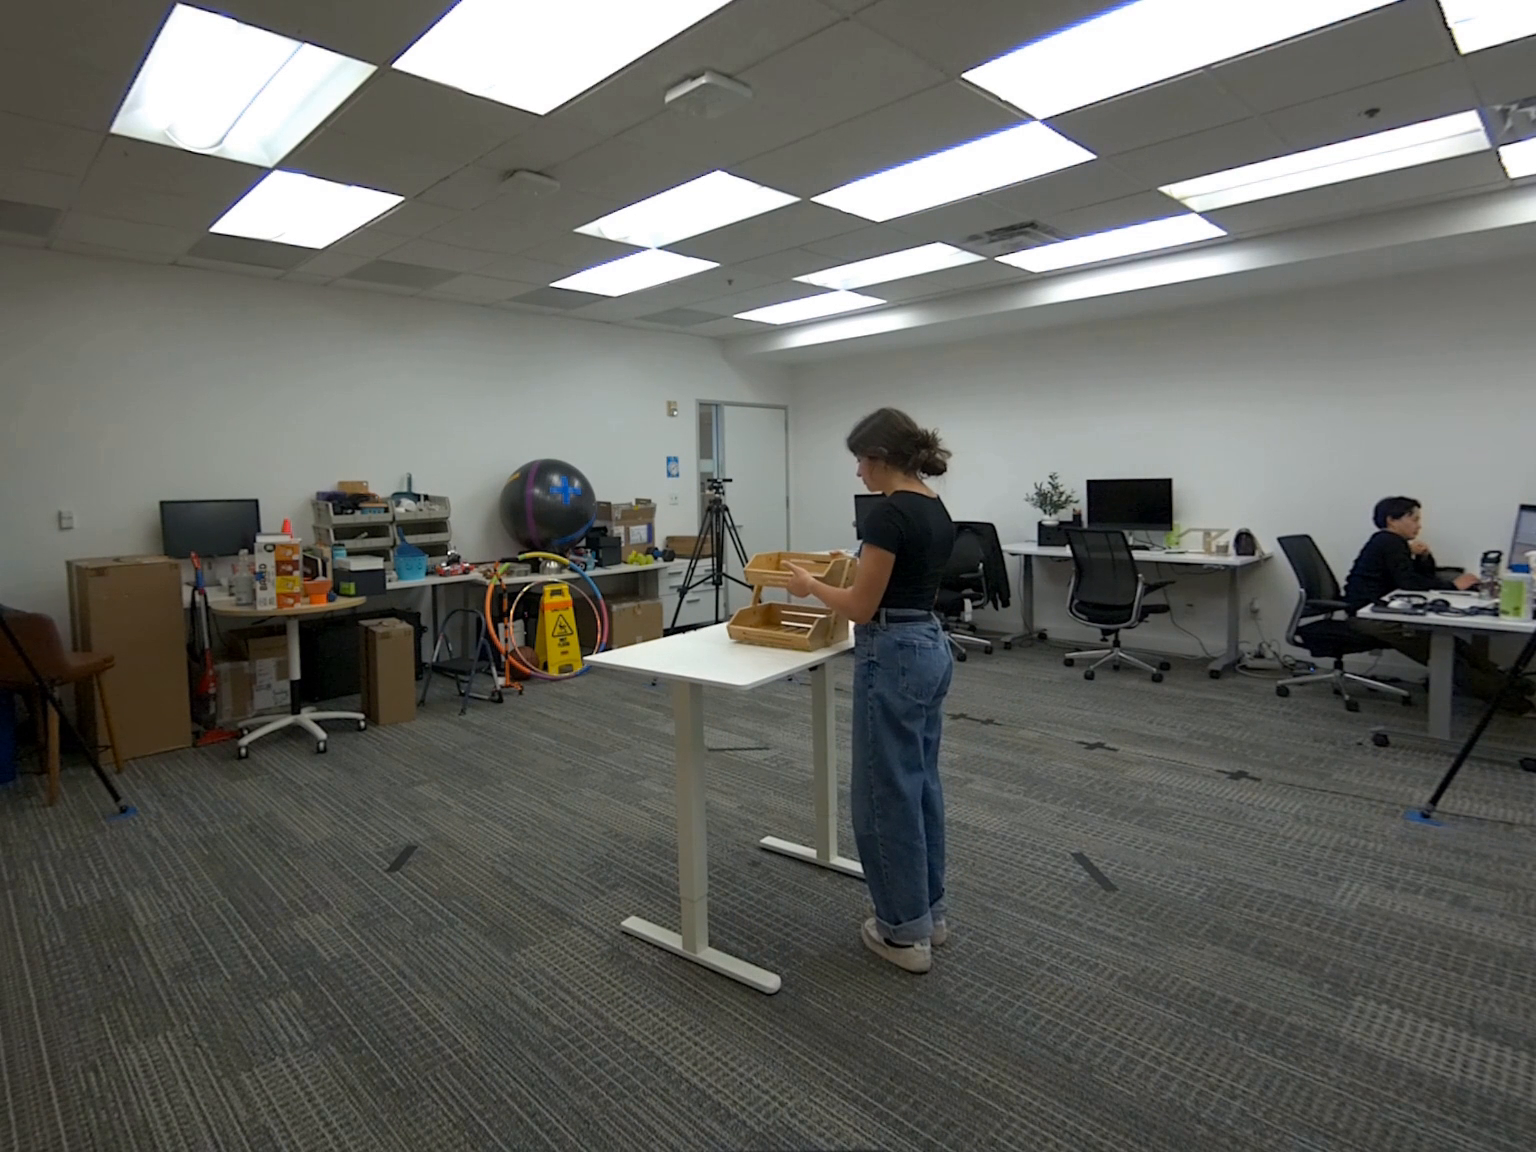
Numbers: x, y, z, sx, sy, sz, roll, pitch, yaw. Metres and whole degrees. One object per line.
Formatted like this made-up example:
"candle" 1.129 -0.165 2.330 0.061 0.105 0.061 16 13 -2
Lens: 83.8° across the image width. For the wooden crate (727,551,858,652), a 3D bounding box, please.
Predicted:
"wooden crate" 0.082 0.067 2.712 0.334 0.272 0.295 4 7 35
